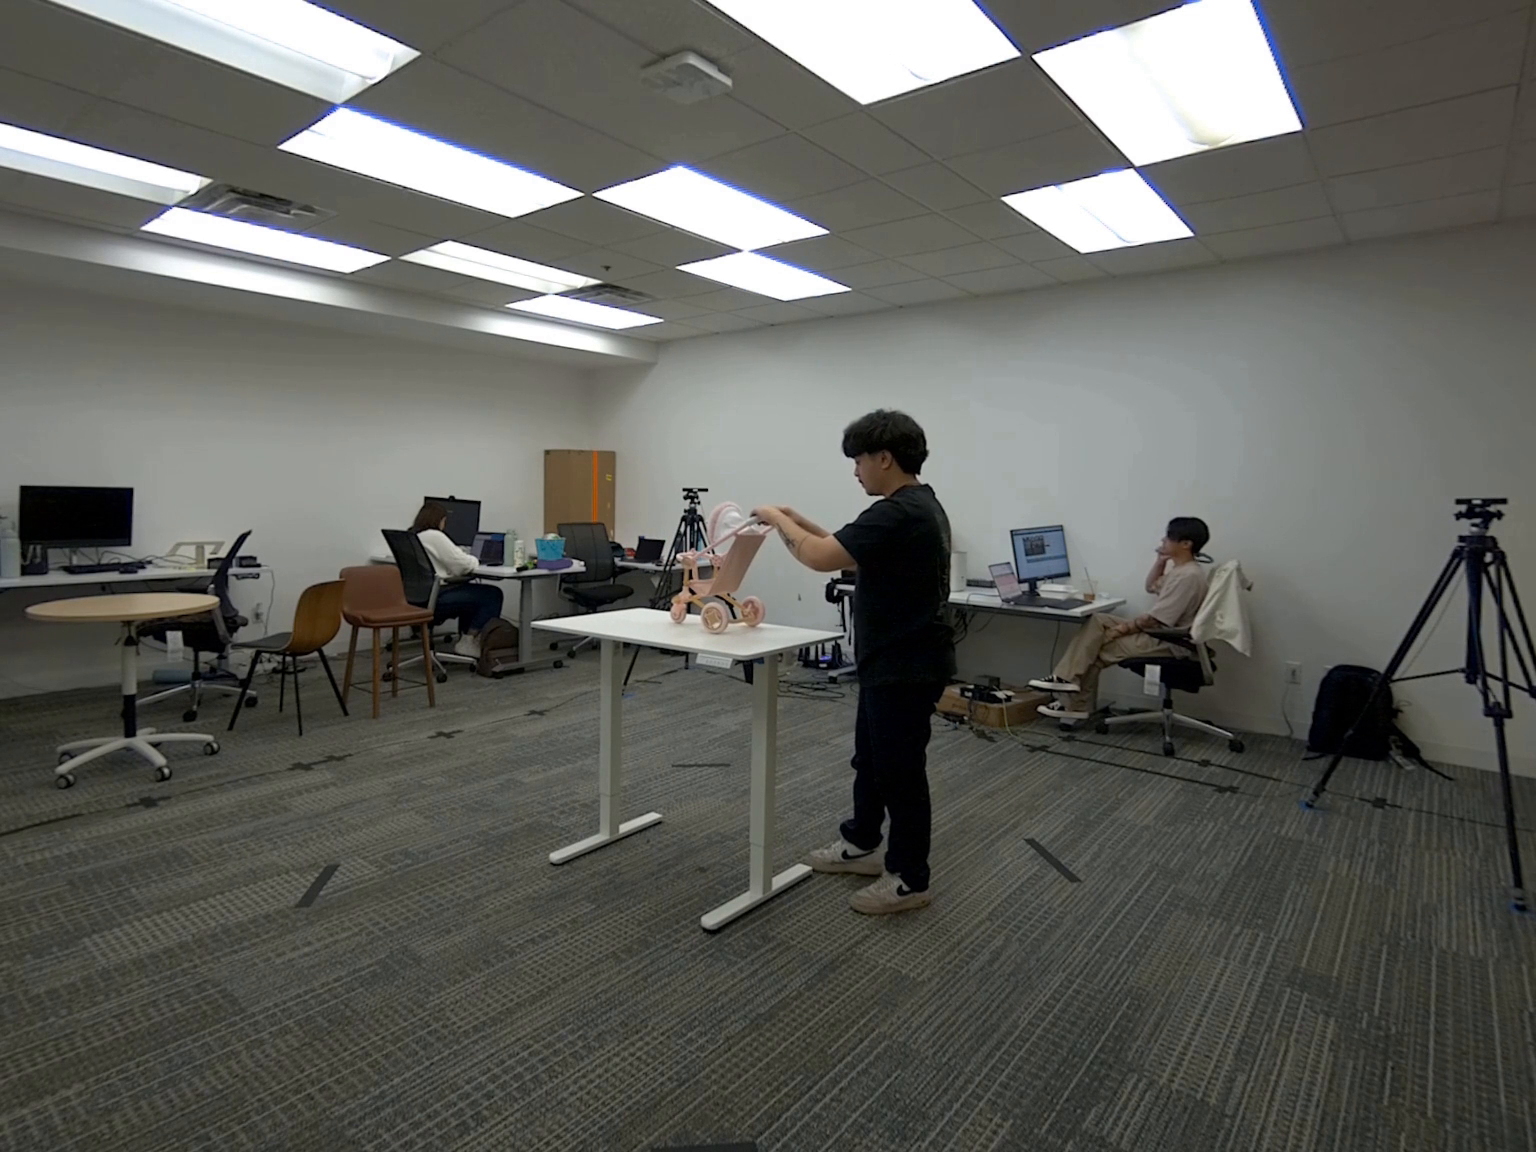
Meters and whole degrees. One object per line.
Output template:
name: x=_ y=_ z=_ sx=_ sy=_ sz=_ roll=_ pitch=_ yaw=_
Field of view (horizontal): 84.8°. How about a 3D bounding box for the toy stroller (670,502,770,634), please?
toy stroller: x=-0.182 y=-0.034 z=3.094 sx=0.355 sy=0.531 sz=0.273 roll=23 pitch=13 yaw=35
